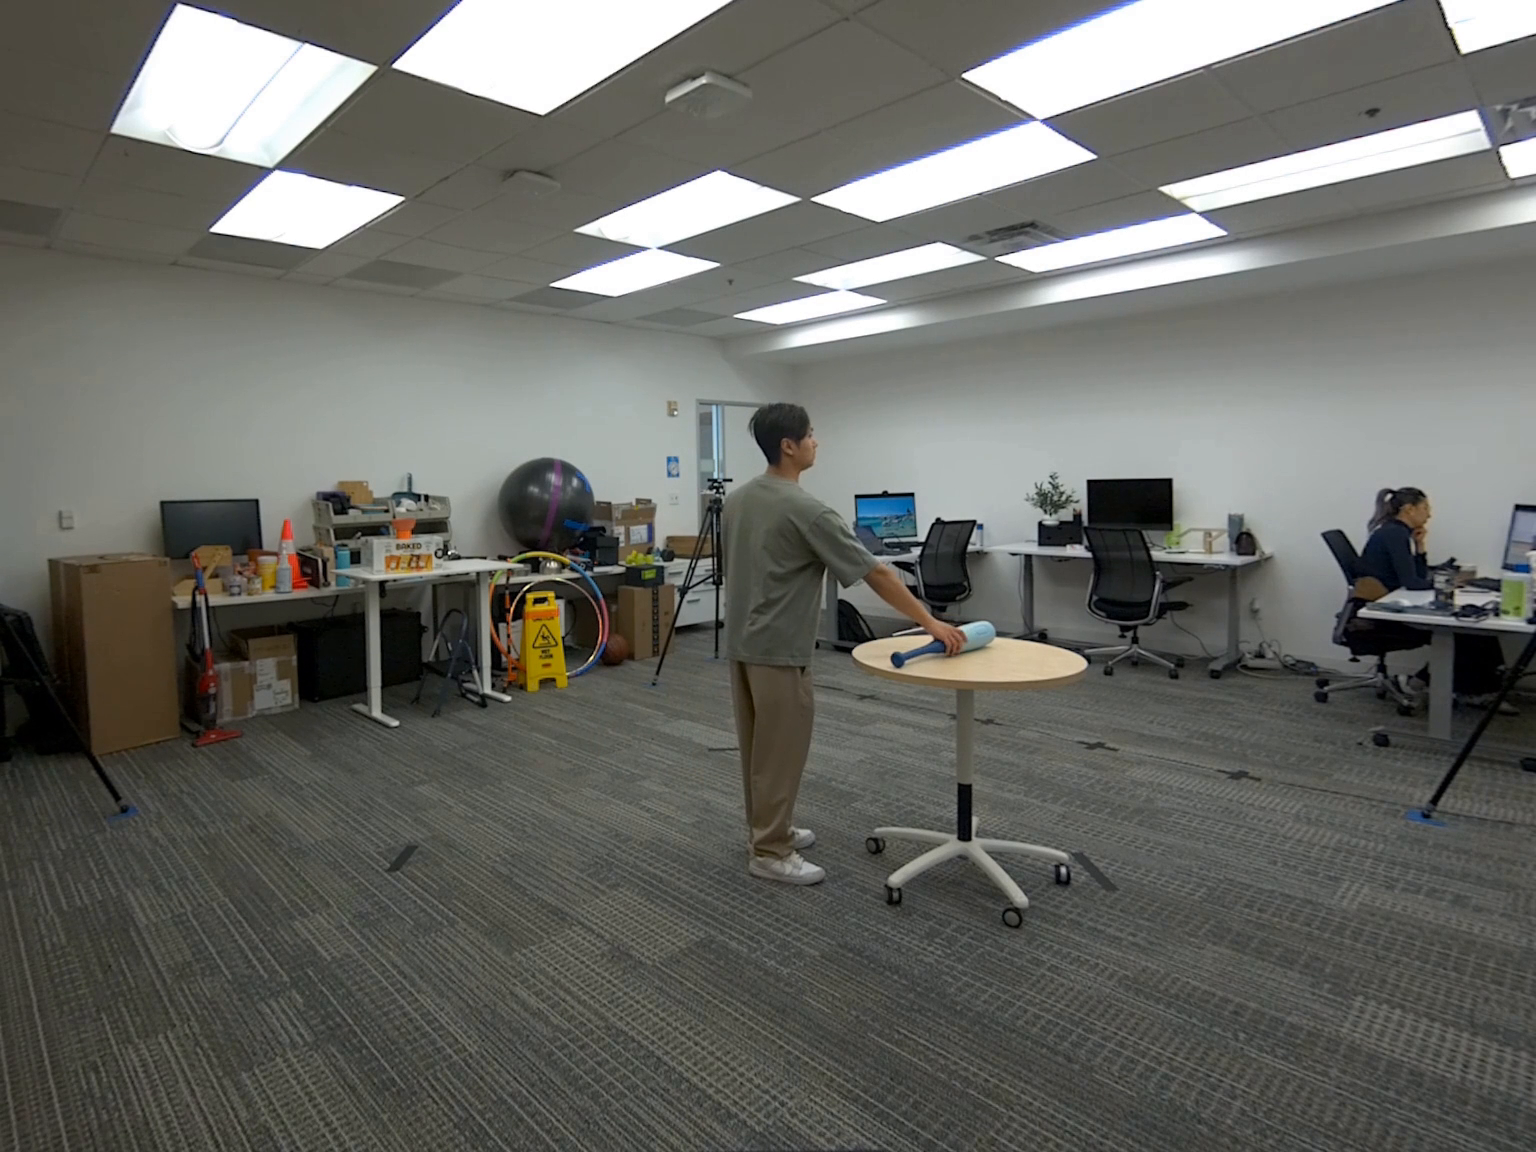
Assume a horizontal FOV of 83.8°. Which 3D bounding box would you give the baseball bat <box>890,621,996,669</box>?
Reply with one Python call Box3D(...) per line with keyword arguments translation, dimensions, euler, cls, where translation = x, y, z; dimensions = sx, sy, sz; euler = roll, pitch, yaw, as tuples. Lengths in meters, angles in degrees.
Box3D(translation=(0.593, 0.232, 2.899), dimensions=(0.529, 0.088, 0.092), euler=(-9, 9, -42), cls="baseball bat")
